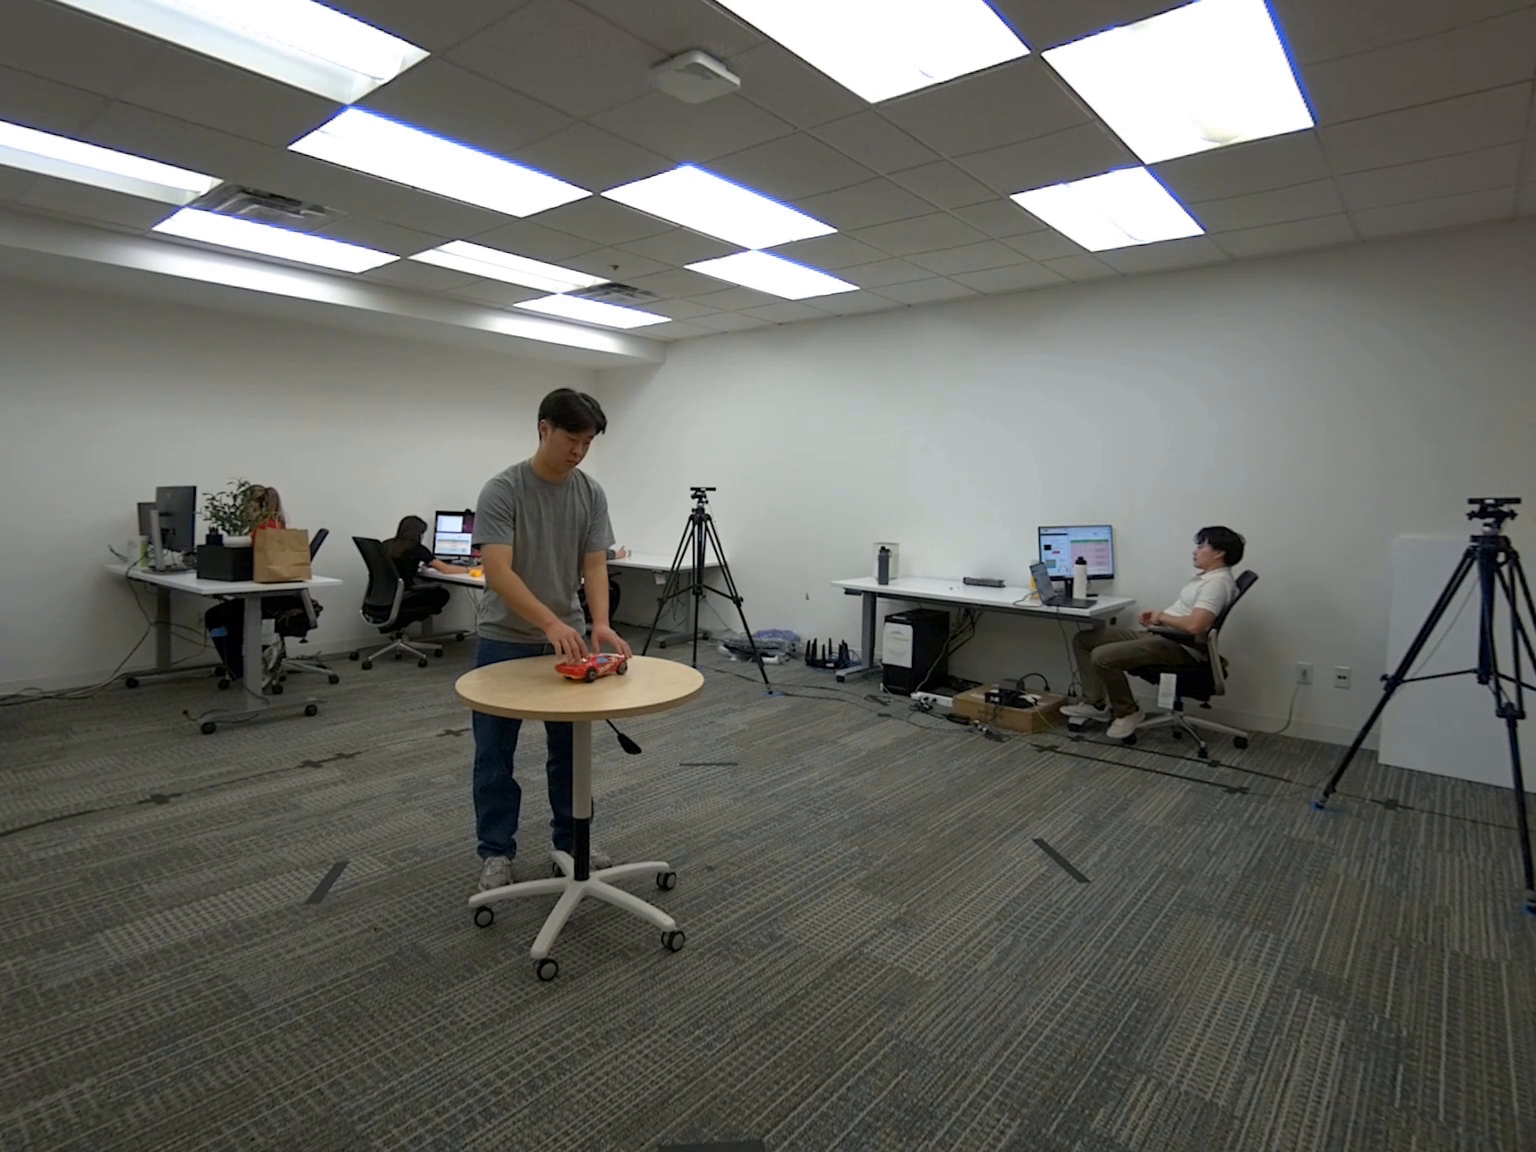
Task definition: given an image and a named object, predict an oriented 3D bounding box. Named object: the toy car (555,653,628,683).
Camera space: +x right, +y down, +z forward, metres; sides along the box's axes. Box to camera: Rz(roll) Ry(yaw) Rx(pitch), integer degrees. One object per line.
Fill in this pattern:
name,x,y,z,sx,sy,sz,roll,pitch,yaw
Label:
toy car,-0.578,0.291,2.682,0.134,0.083,0.246,6,-3,34
